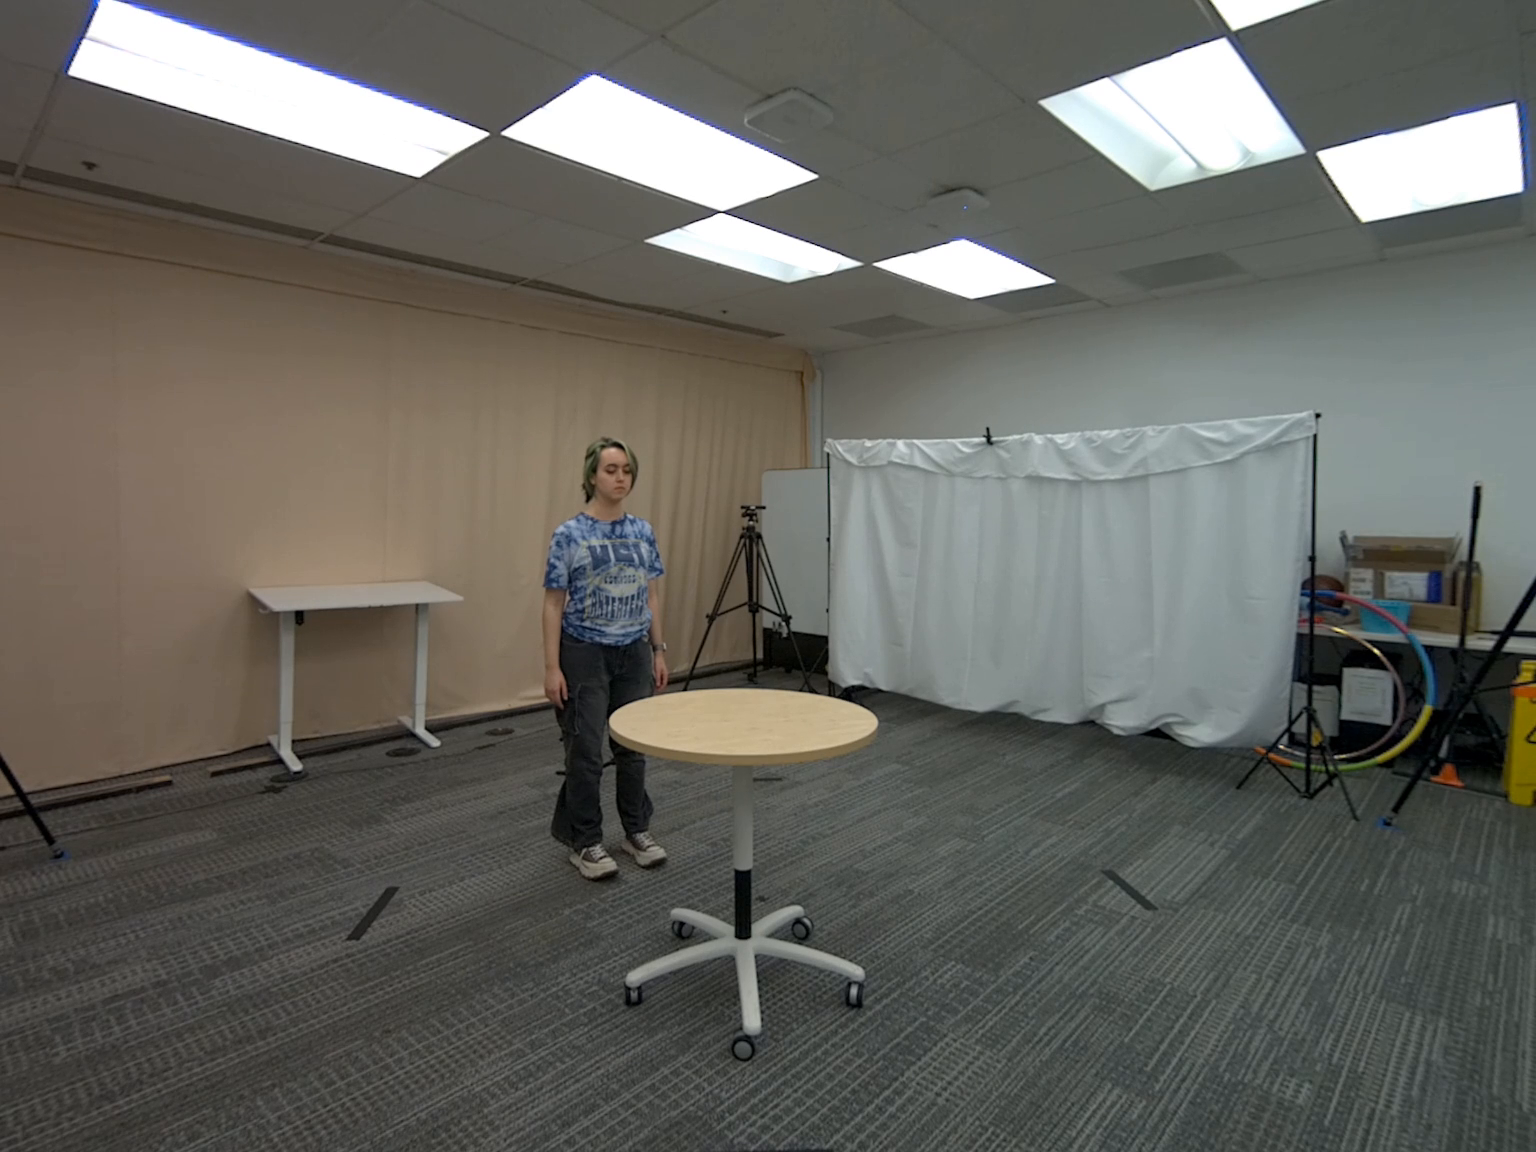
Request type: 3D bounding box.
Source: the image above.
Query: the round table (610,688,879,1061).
[{"bbox_3d":[-0.069,0.801,2.444,0.763,0.792,0.766,0,4,-2],"label":"round table"}]
